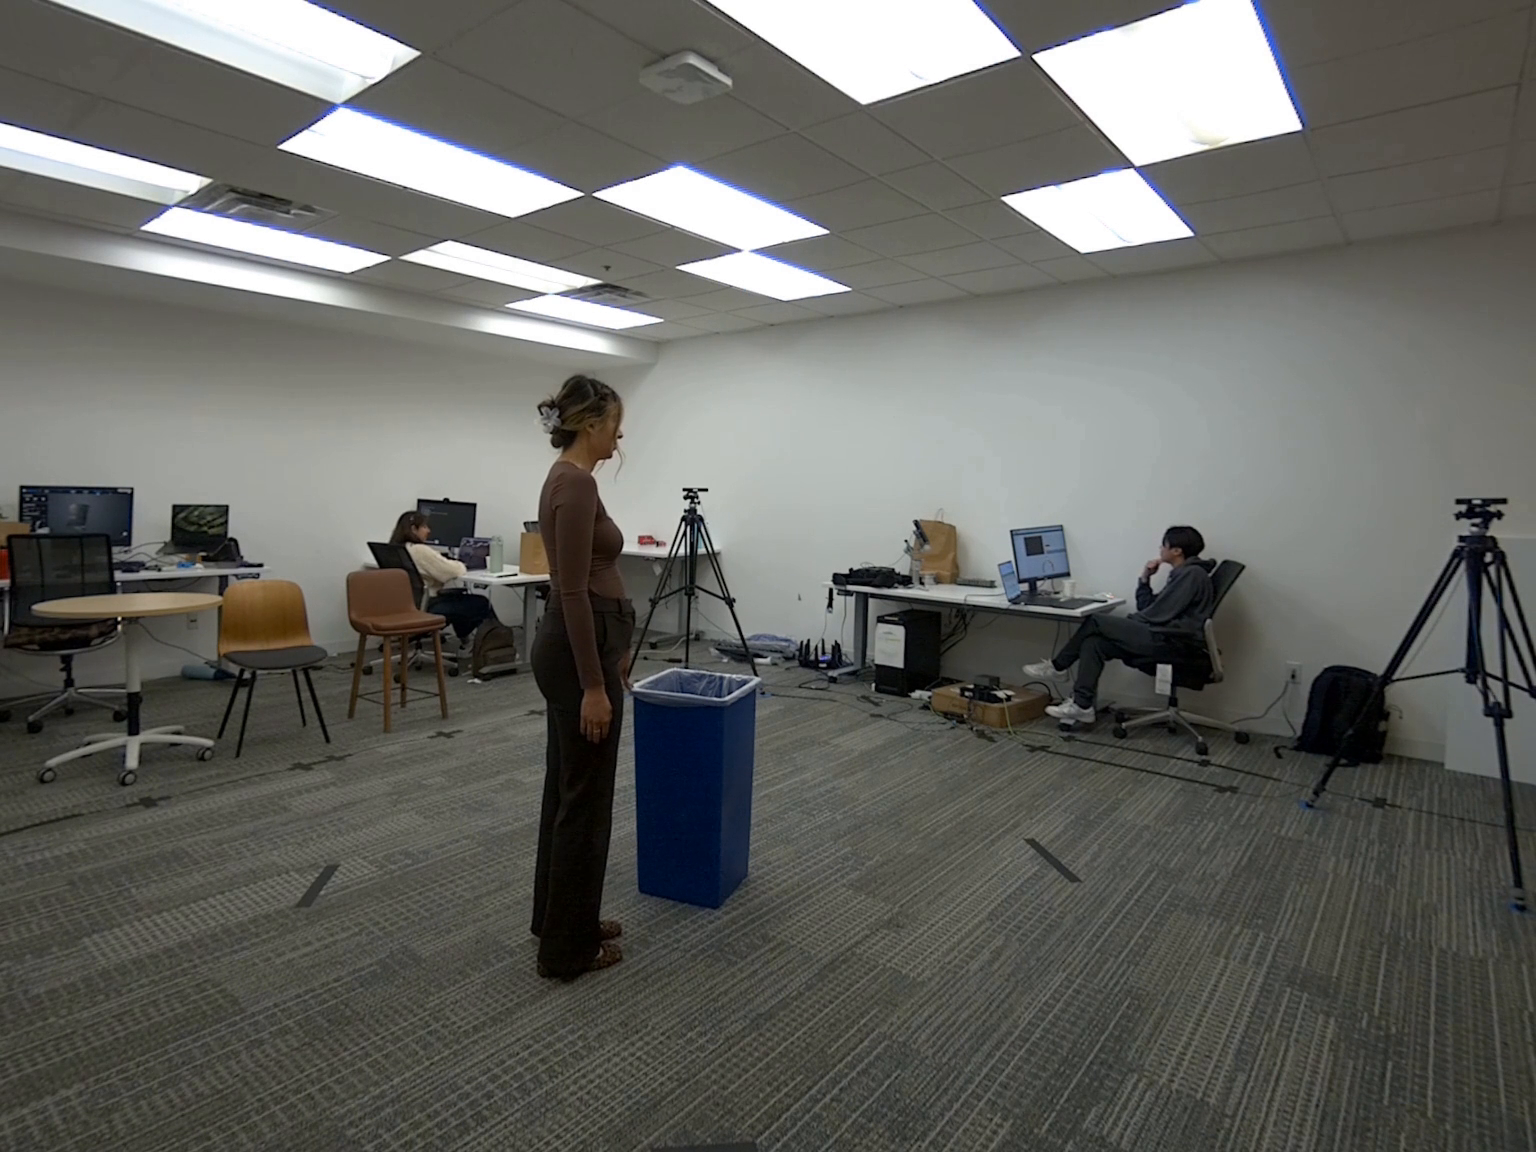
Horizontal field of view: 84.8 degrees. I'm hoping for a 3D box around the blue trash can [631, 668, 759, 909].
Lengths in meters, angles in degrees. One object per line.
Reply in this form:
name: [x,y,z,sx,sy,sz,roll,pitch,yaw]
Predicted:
blue trash can: [-0.262,0.722,2.977,0.387,0.712,0.366,2,3,21]
